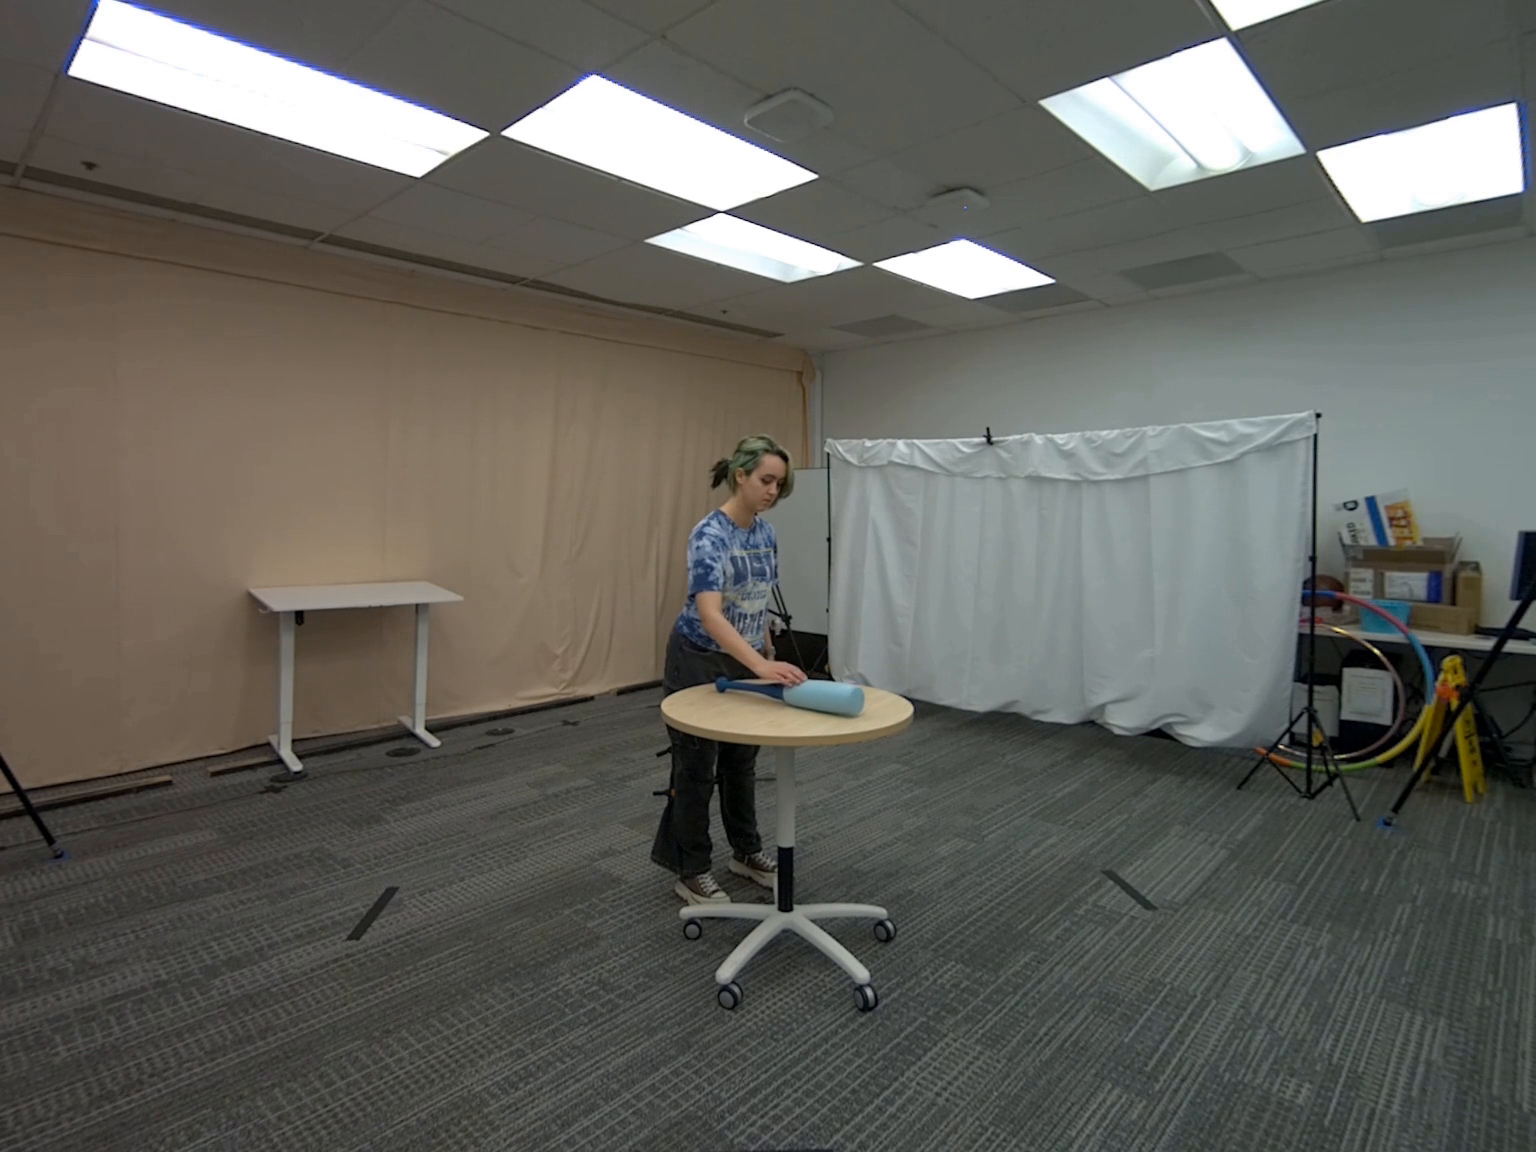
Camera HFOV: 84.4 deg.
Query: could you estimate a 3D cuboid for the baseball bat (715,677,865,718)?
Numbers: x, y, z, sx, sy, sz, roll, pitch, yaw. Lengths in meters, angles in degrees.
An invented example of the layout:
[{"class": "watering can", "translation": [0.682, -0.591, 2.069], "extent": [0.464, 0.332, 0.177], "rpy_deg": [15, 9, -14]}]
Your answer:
[{"class": "baseball bat", "translation": [0.050, 0.361, 2.575], "extent": [0.560, 0.089, 0.086], "rpy_deg": [-1, 2, 41]}]
